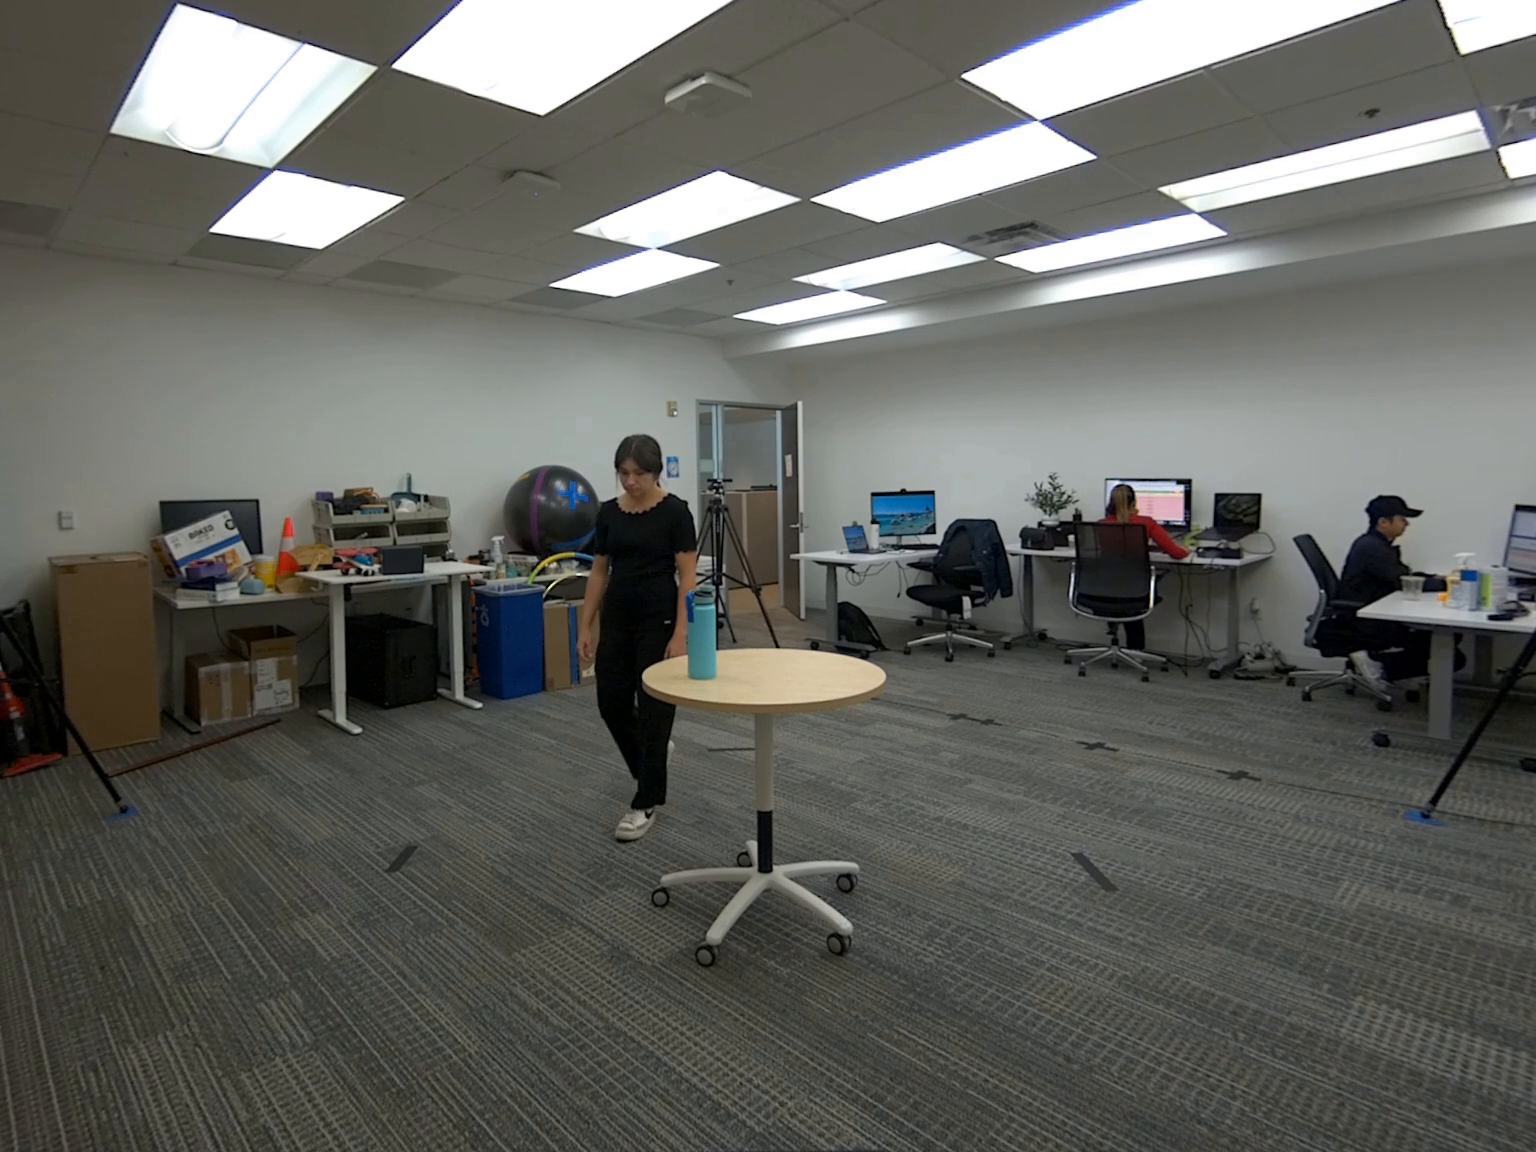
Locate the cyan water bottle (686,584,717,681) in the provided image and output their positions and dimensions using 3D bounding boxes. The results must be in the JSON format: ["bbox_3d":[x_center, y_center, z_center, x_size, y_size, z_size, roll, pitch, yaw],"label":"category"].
[{"bbox_3d":[-0.207,0.173,2.652,0.092,0.283,0.092,-3,3,-1],"label":"cyan water bottle"}]
